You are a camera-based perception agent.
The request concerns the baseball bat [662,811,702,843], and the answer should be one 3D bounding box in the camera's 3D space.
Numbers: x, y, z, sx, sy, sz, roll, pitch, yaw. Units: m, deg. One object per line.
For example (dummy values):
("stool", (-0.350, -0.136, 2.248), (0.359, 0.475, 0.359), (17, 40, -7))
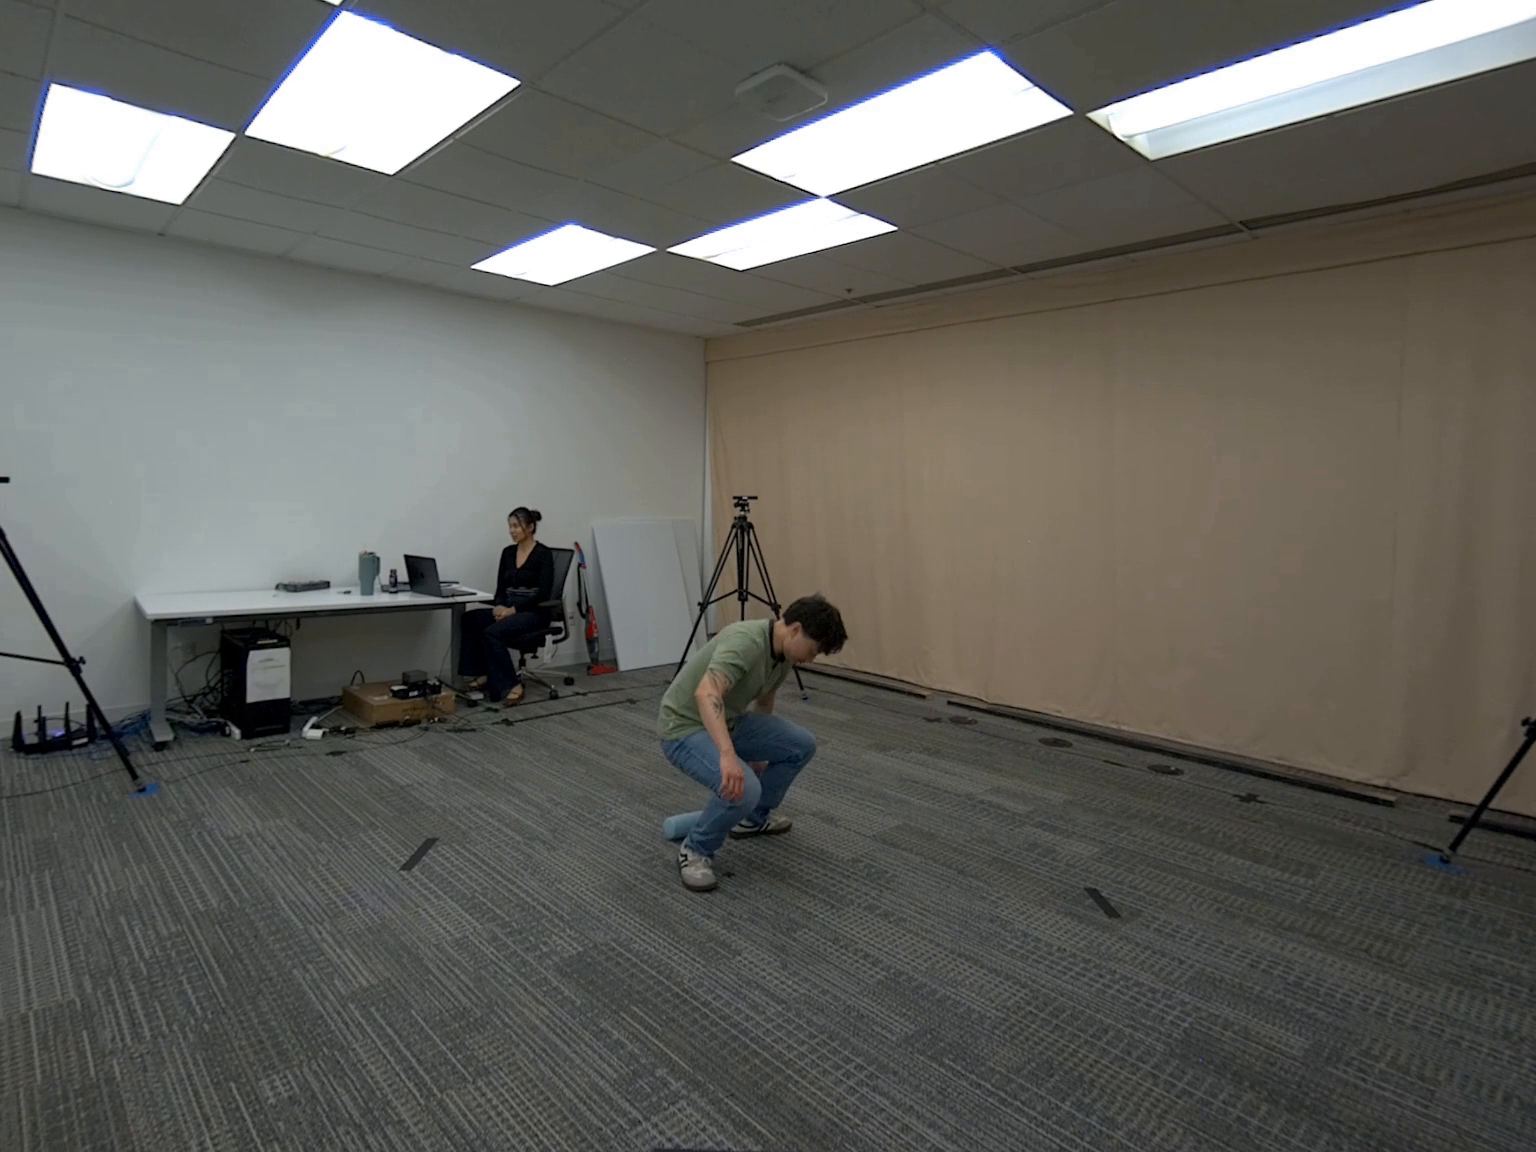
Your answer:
("baseball bat", (-0.207, 1.028, 3.554), (0.530, 0.089, 0.091), (2, 3, -41))
